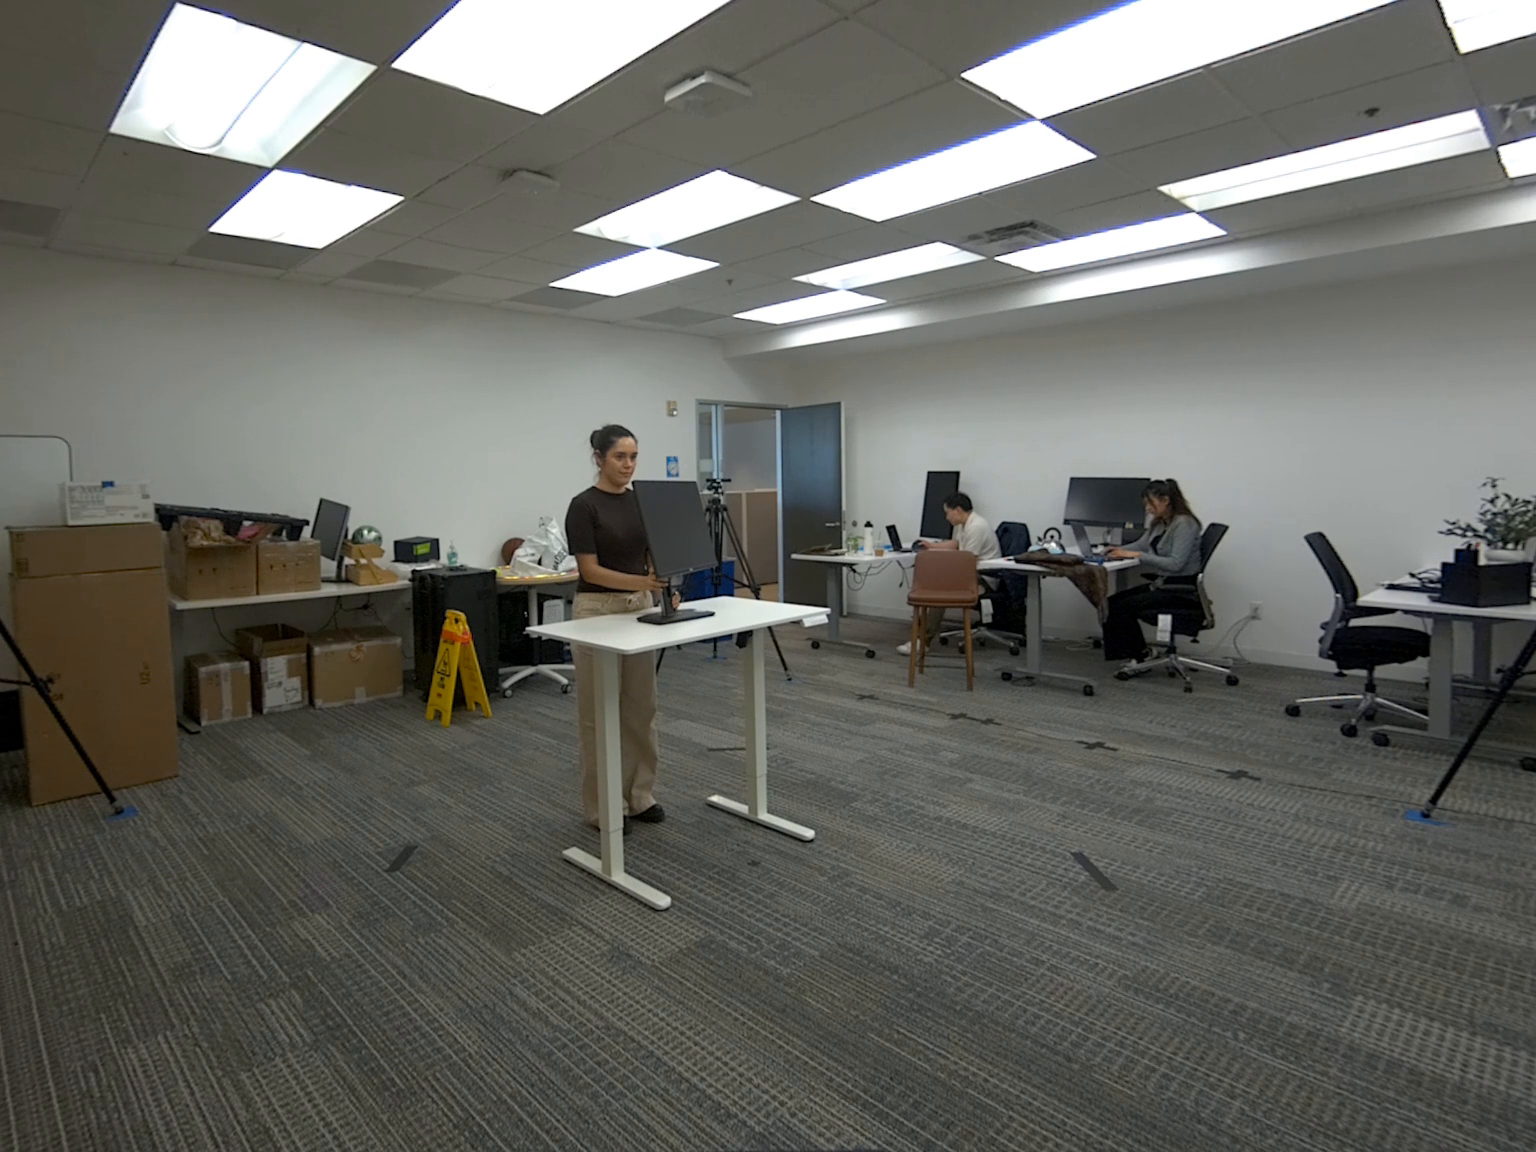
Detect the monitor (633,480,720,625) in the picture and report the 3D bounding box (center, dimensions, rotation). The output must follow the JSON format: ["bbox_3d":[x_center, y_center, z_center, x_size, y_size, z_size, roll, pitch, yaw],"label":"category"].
[{"bbox_3d":[-0.356,-0.097,3.187,0.190,0.521,0.531,-2,3,17],"label":"monitor"}]
